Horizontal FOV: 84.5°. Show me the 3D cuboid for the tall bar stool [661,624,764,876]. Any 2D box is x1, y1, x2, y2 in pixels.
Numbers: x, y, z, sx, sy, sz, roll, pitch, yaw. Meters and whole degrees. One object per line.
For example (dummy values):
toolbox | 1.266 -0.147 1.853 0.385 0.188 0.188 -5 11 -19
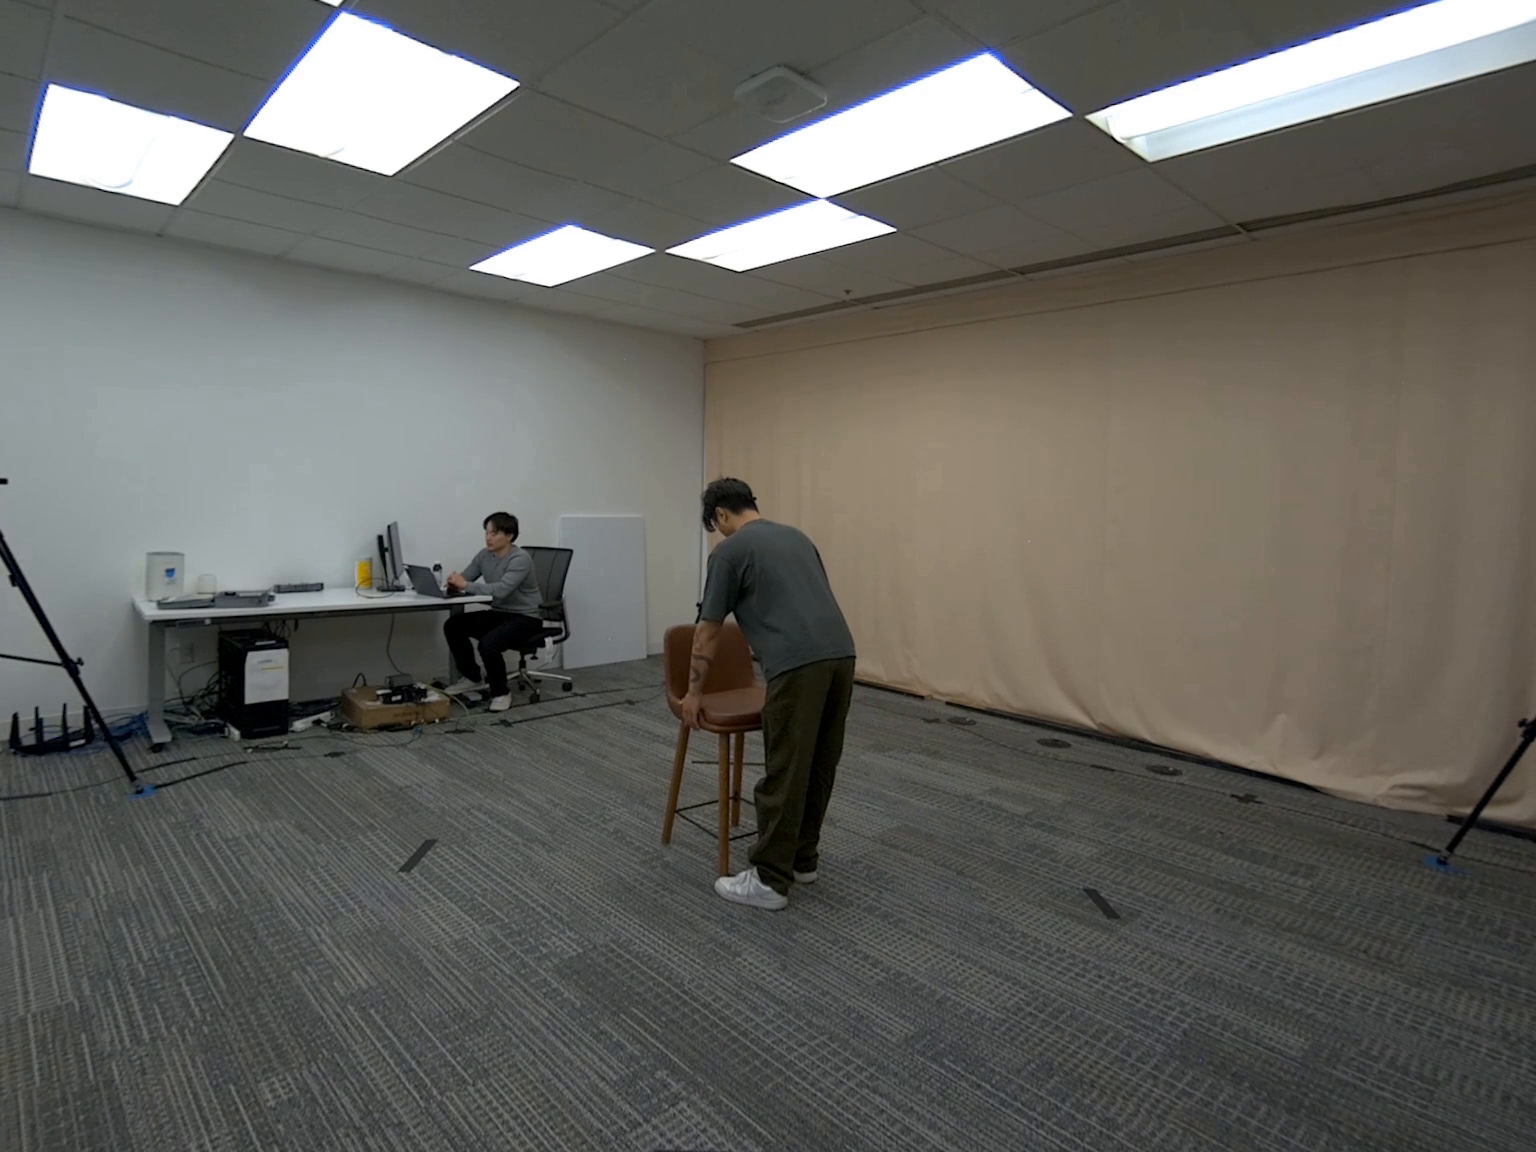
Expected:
tall bar stool | -0.147 0.650 3.303 0.446 0.889 0.478 -1 2 -37
